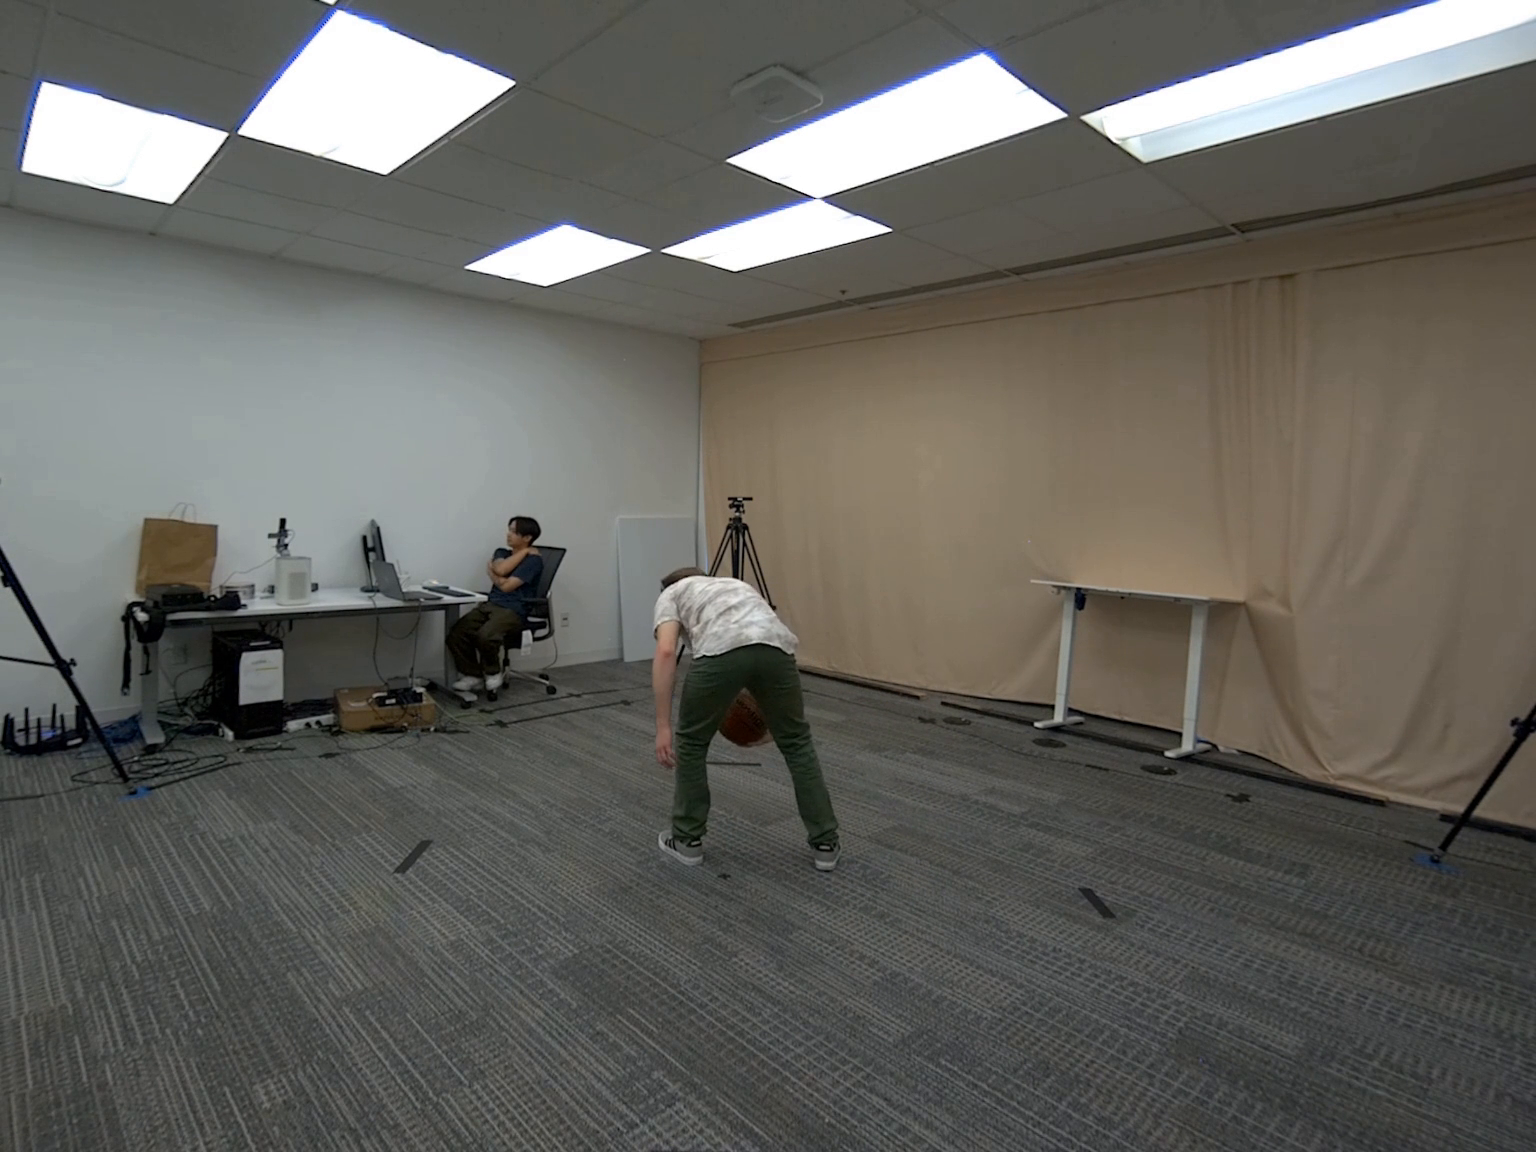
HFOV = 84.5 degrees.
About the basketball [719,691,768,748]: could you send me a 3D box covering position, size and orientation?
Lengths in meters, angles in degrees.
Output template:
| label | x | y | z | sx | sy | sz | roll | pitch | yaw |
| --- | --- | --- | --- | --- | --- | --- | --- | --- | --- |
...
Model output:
| label | x | y | z | sx | sy | sz | roll | pitch | yaw |
| --- | --- | --- | --- | --- | --- | --- | --- | --- | --- |
| basketball | -0.115 | 0.584 | 3.532 | 0.236 | 0.235 | 0.237 | 1 | 4 | -1 |
